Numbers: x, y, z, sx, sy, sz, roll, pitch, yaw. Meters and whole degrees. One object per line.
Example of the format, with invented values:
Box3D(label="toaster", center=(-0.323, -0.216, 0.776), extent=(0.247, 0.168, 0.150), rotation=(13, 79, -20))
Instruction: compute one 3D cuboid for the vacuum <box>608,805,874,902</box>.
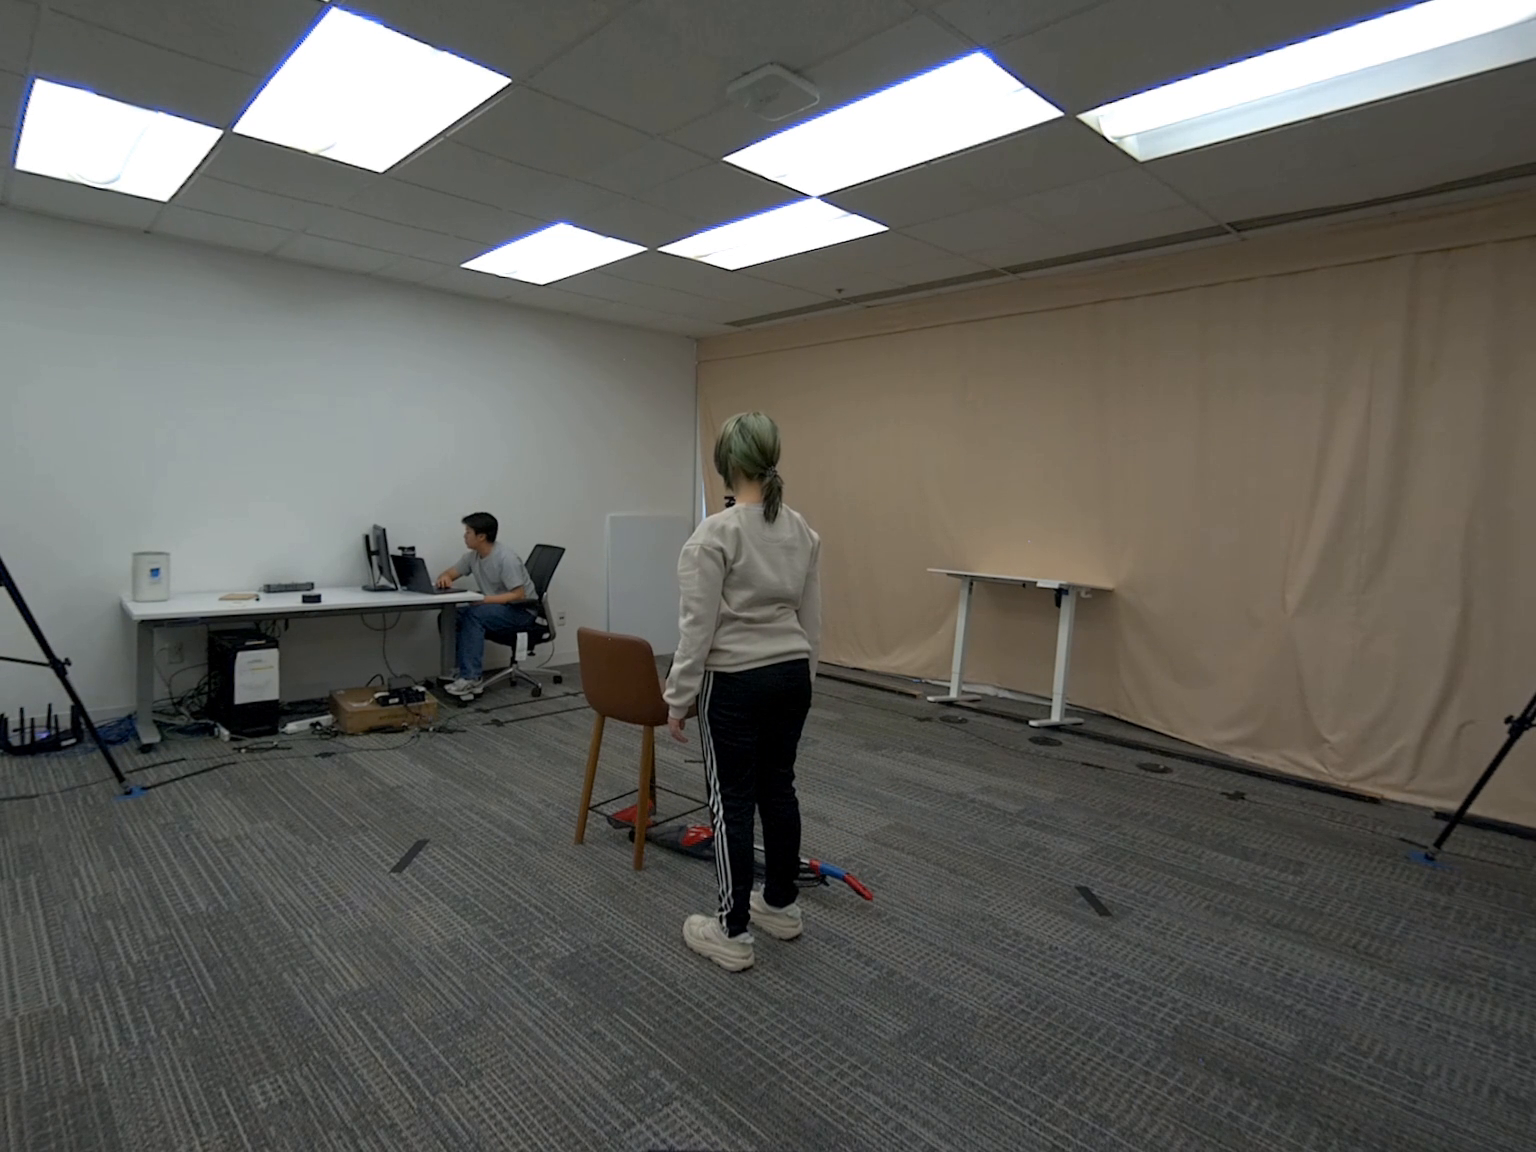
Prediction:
Box3D(label="vacuum", center=(-0.108, 1.054, 3.143), extent=(1.075, 0.143, 0.247), rotation=(6, 8, 35))
